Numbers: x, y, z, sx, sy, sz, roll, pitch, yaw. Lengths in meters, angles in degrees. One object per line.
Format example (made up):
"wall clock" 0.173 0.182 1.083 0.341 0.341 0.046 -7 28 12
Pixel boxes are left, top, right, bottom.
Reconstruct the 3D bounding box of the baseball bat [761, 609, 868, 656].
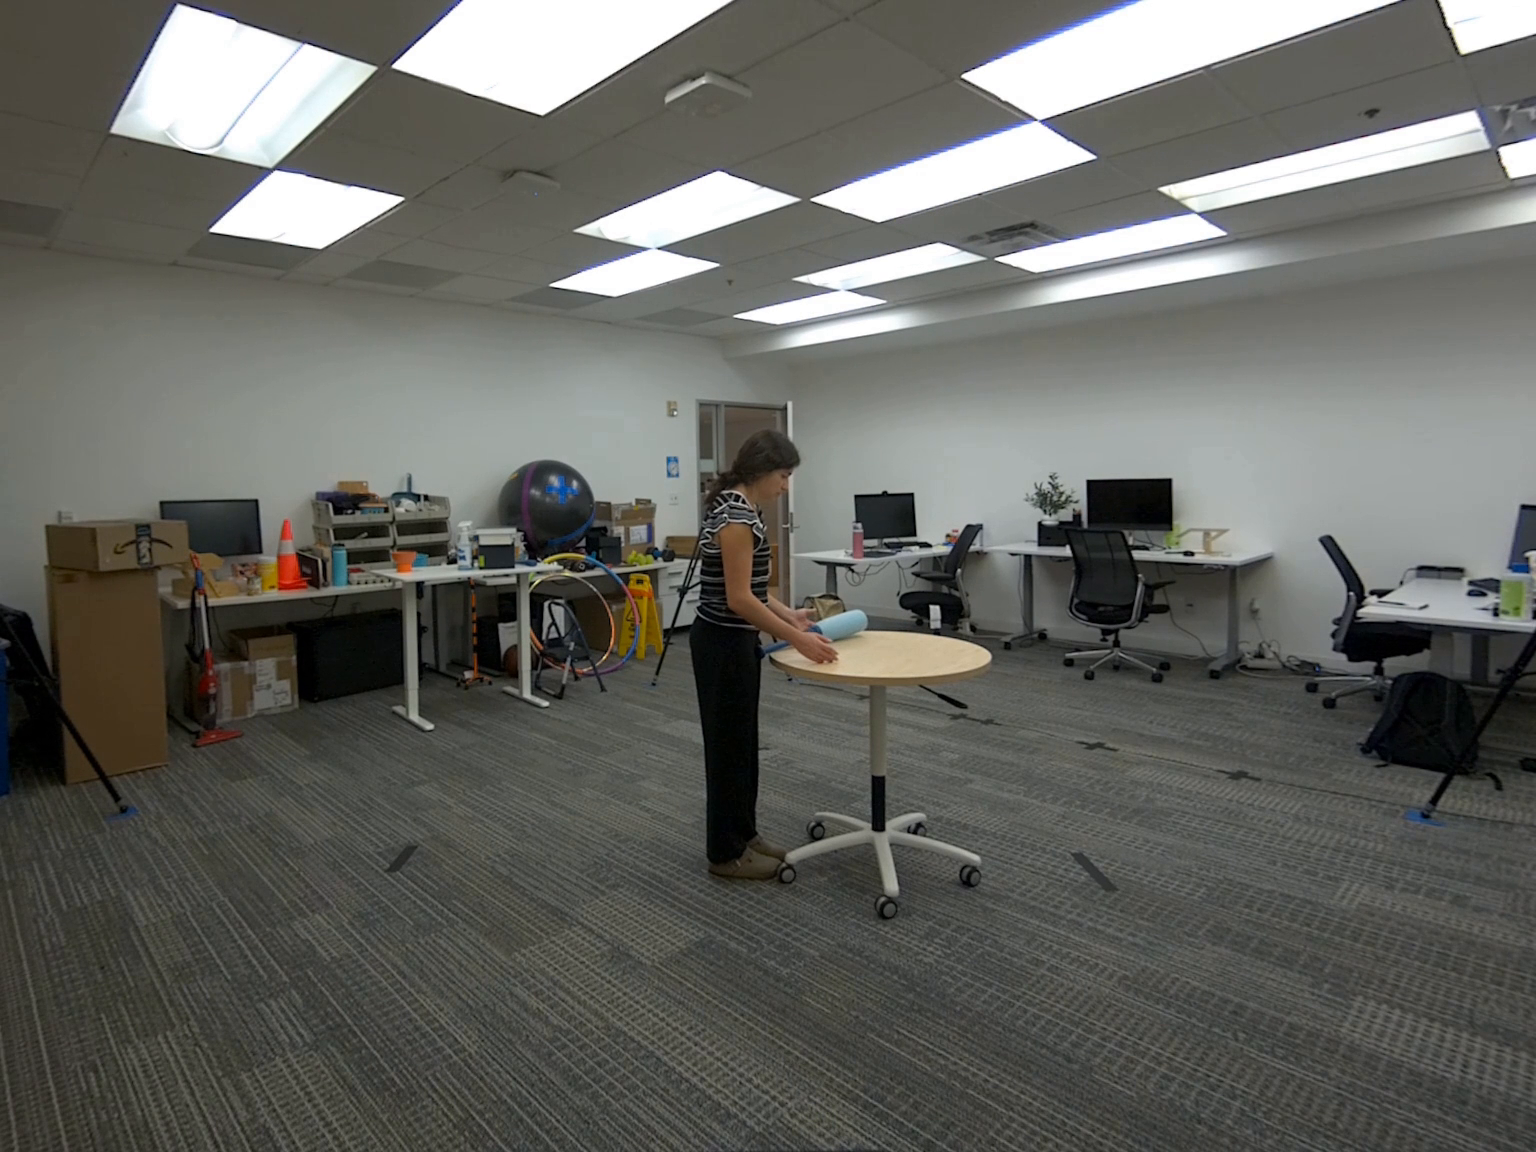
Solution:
"baseball bat" 0.152 0.213 3.147 0.531 0.088 0.092 -12 11 -37
